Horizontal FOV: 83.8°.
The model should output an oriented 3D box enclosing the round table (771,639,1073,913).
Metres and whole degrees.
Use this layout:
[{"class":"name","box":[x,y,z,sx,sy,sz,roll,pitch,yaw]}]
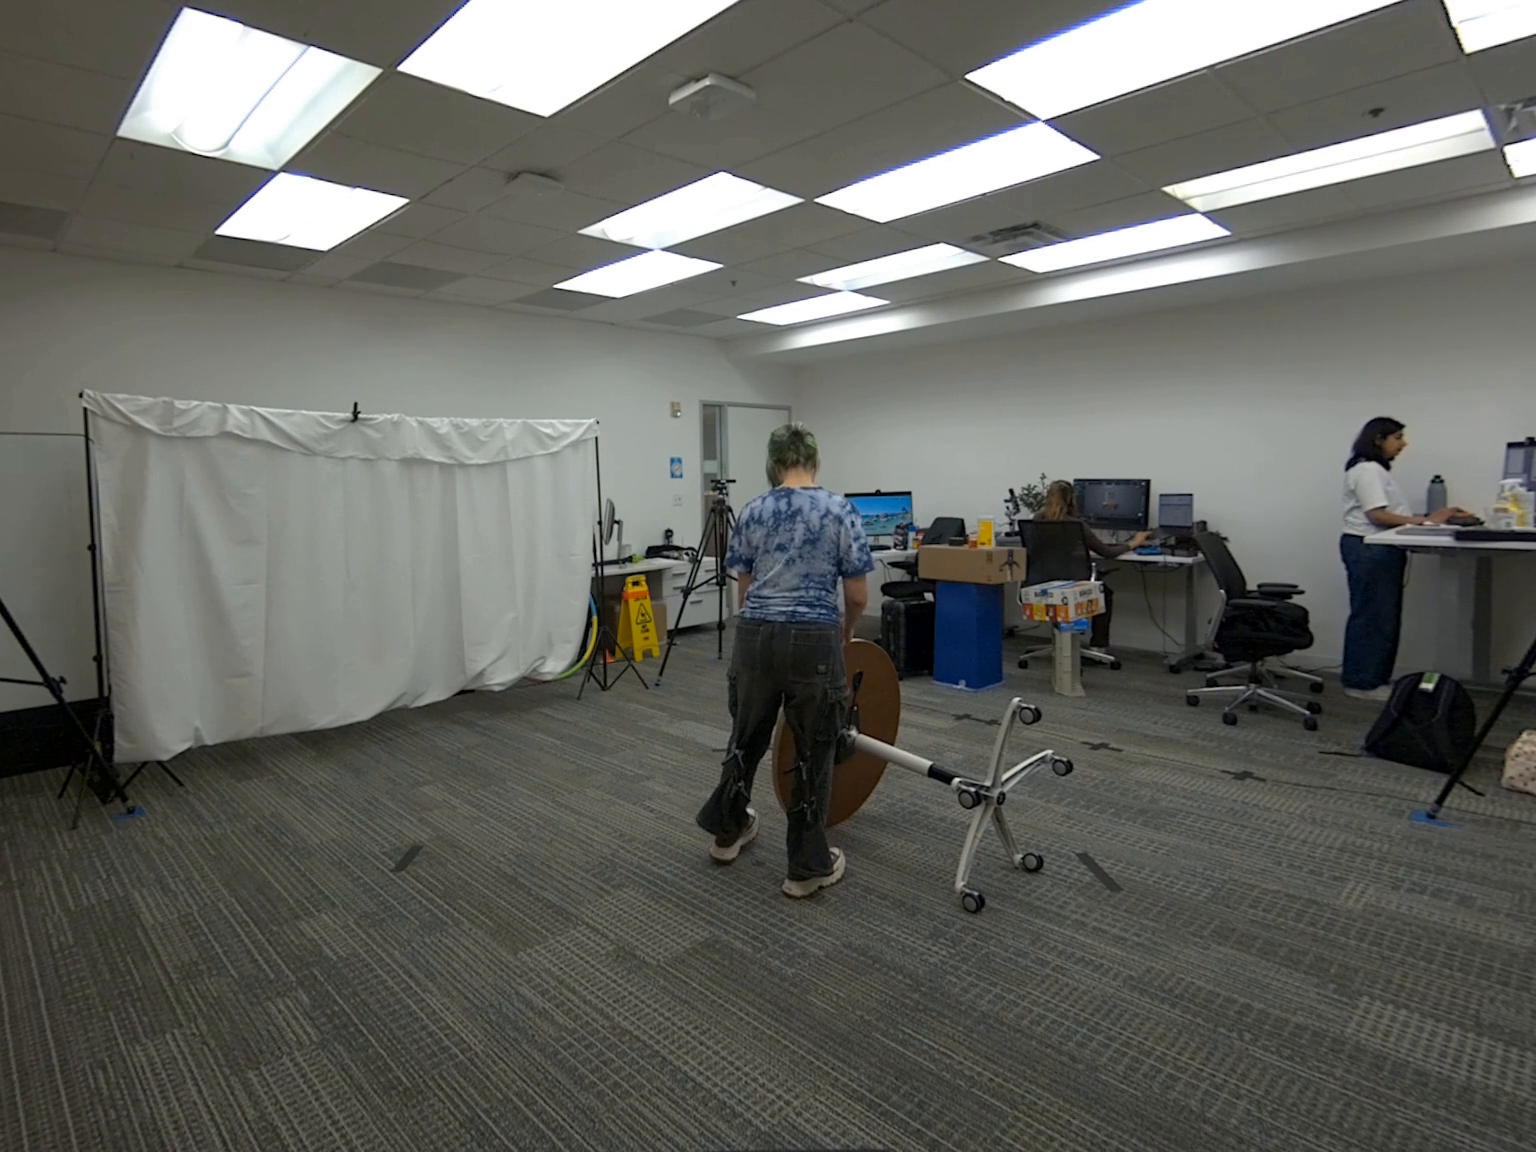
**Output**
[{"class":"round table","box":[0.566,0.693,3.121,0.744,0.758,0.821,-5,13,-44]}]
